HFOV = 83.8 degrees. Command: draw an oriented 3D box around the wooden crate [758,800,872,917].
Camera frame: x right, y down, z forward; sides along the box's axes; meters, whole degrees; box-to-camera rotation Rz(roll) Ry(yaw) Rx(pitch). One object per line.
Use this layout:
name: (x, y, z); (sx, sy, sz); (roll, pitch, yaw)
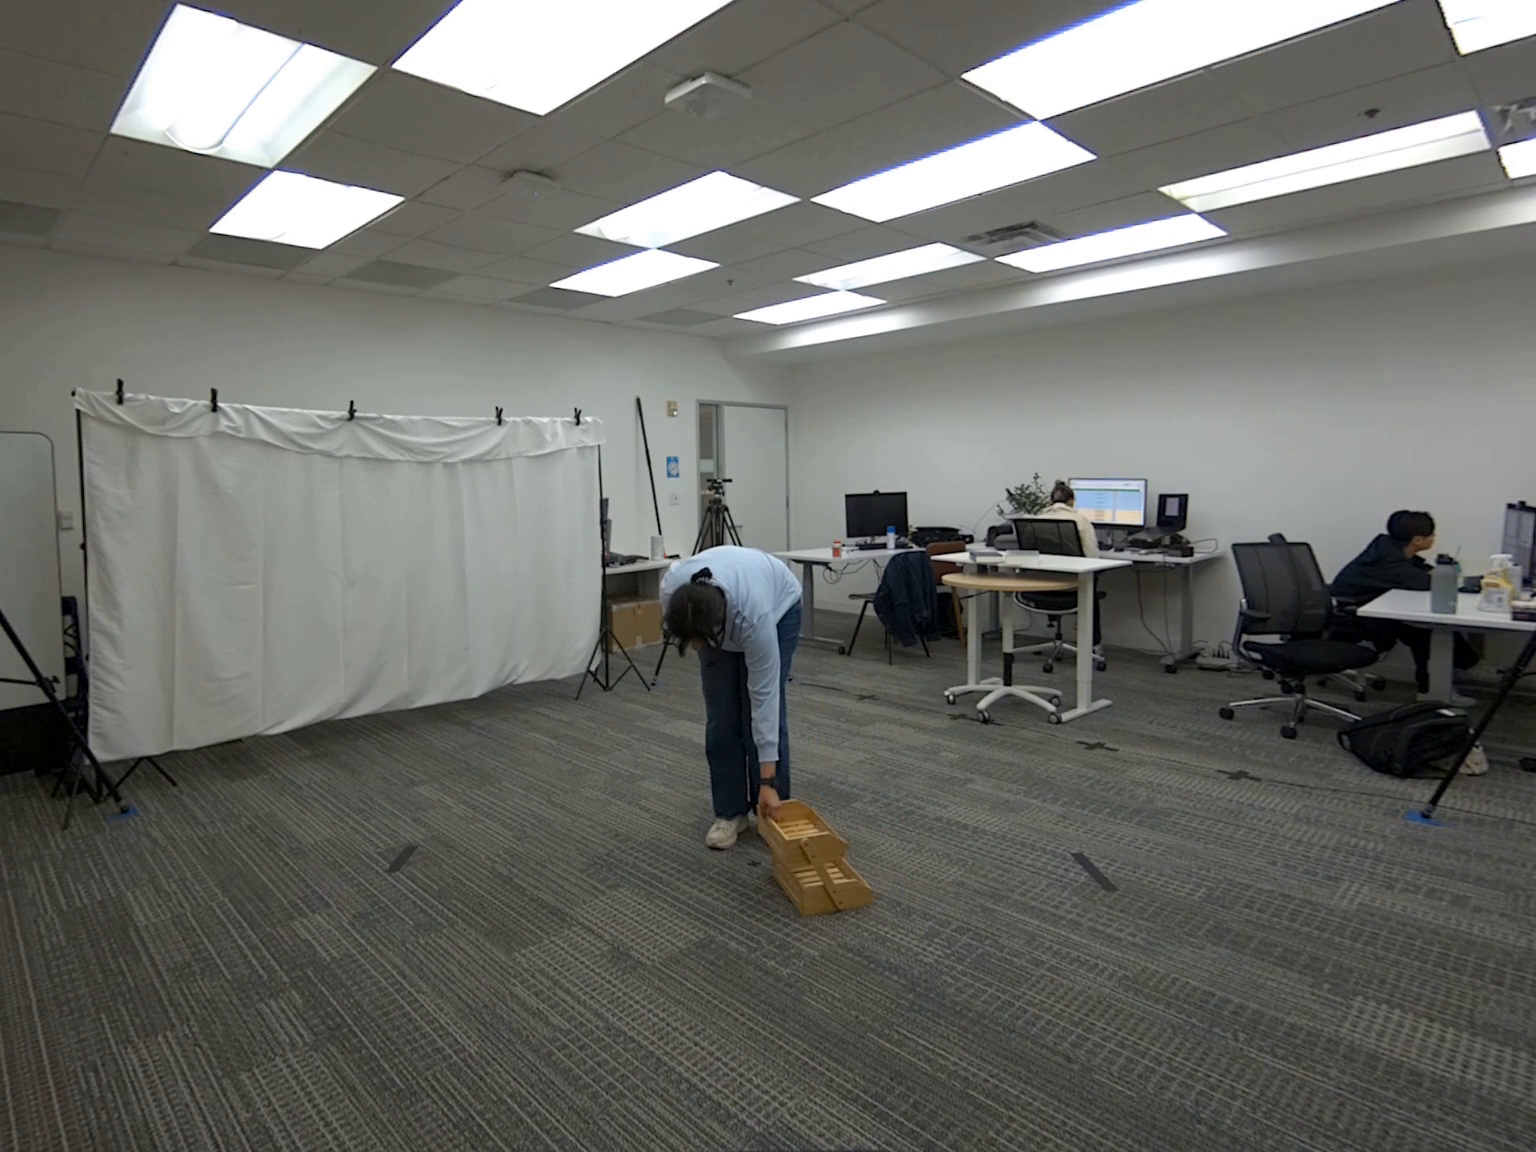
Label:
wooden crate: (0.160, 0.931, 2.890); (0.297, 0.272, 0.331); (-4, 6, -17)
